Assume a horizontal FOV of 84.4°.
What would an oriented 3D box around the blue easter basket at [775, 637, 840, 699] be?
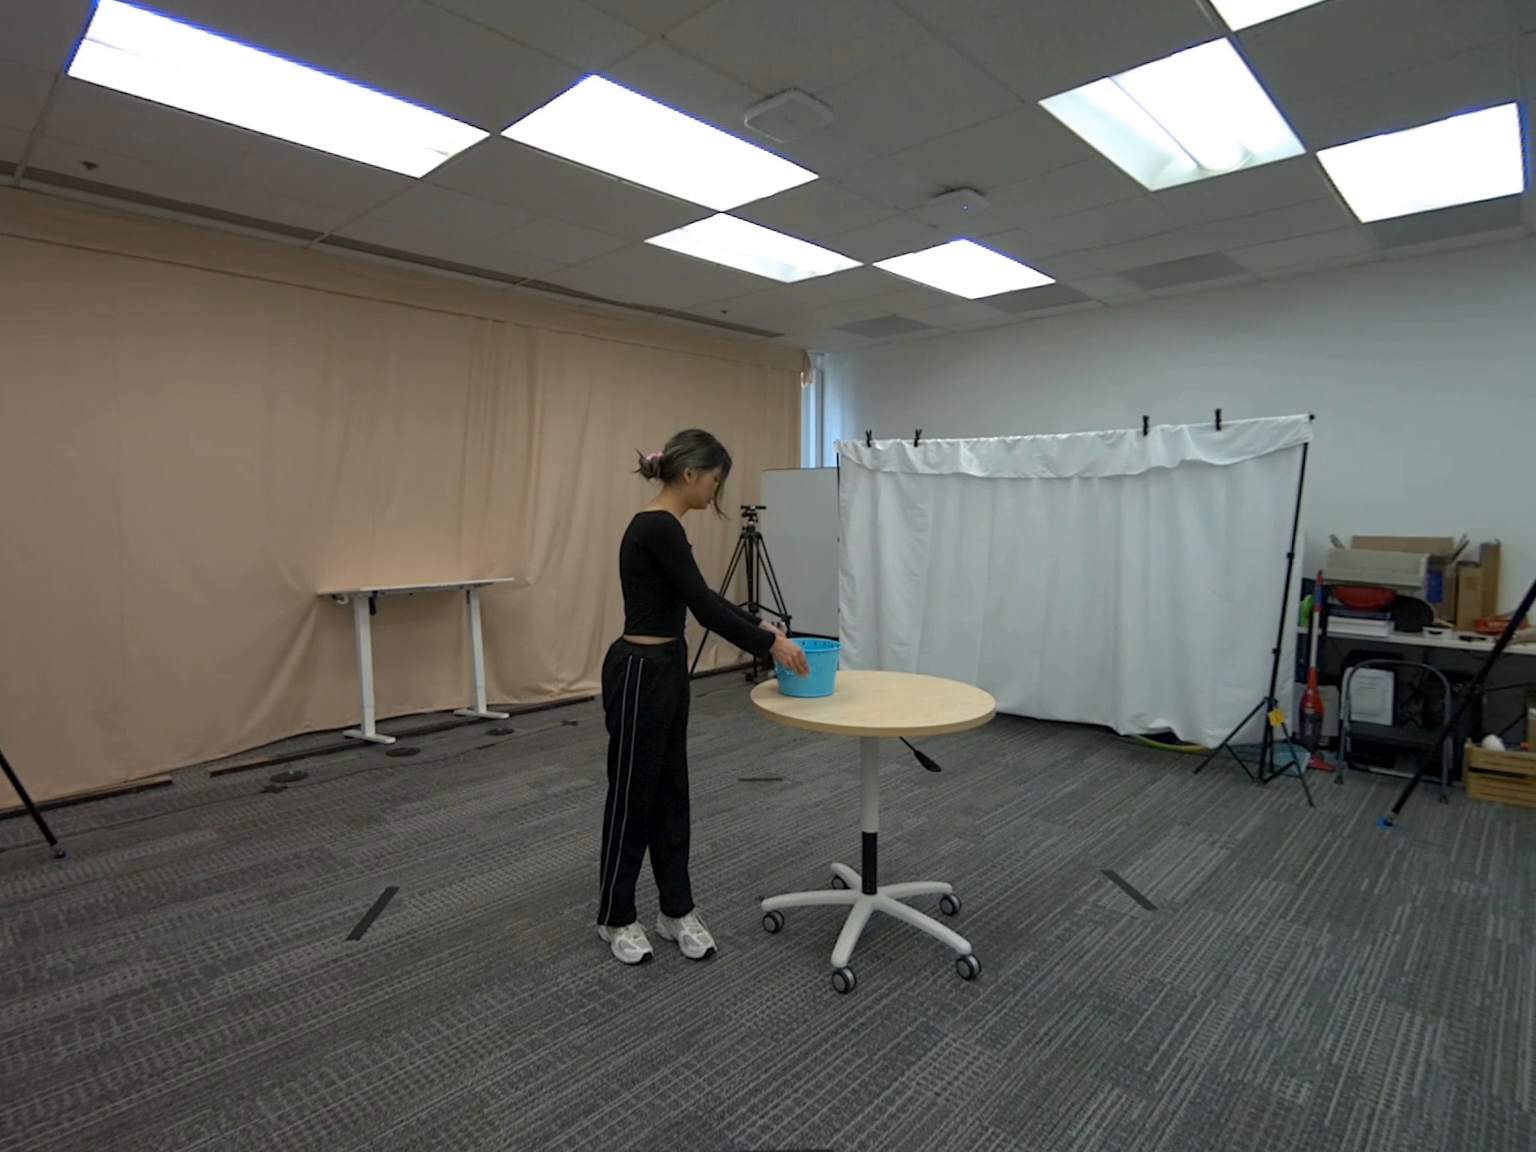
[{"bbox_3d":[0.129,0.304,2.738,0.243,0.155,0.245,0,6,-2],"label":"blue easter basket"}]
